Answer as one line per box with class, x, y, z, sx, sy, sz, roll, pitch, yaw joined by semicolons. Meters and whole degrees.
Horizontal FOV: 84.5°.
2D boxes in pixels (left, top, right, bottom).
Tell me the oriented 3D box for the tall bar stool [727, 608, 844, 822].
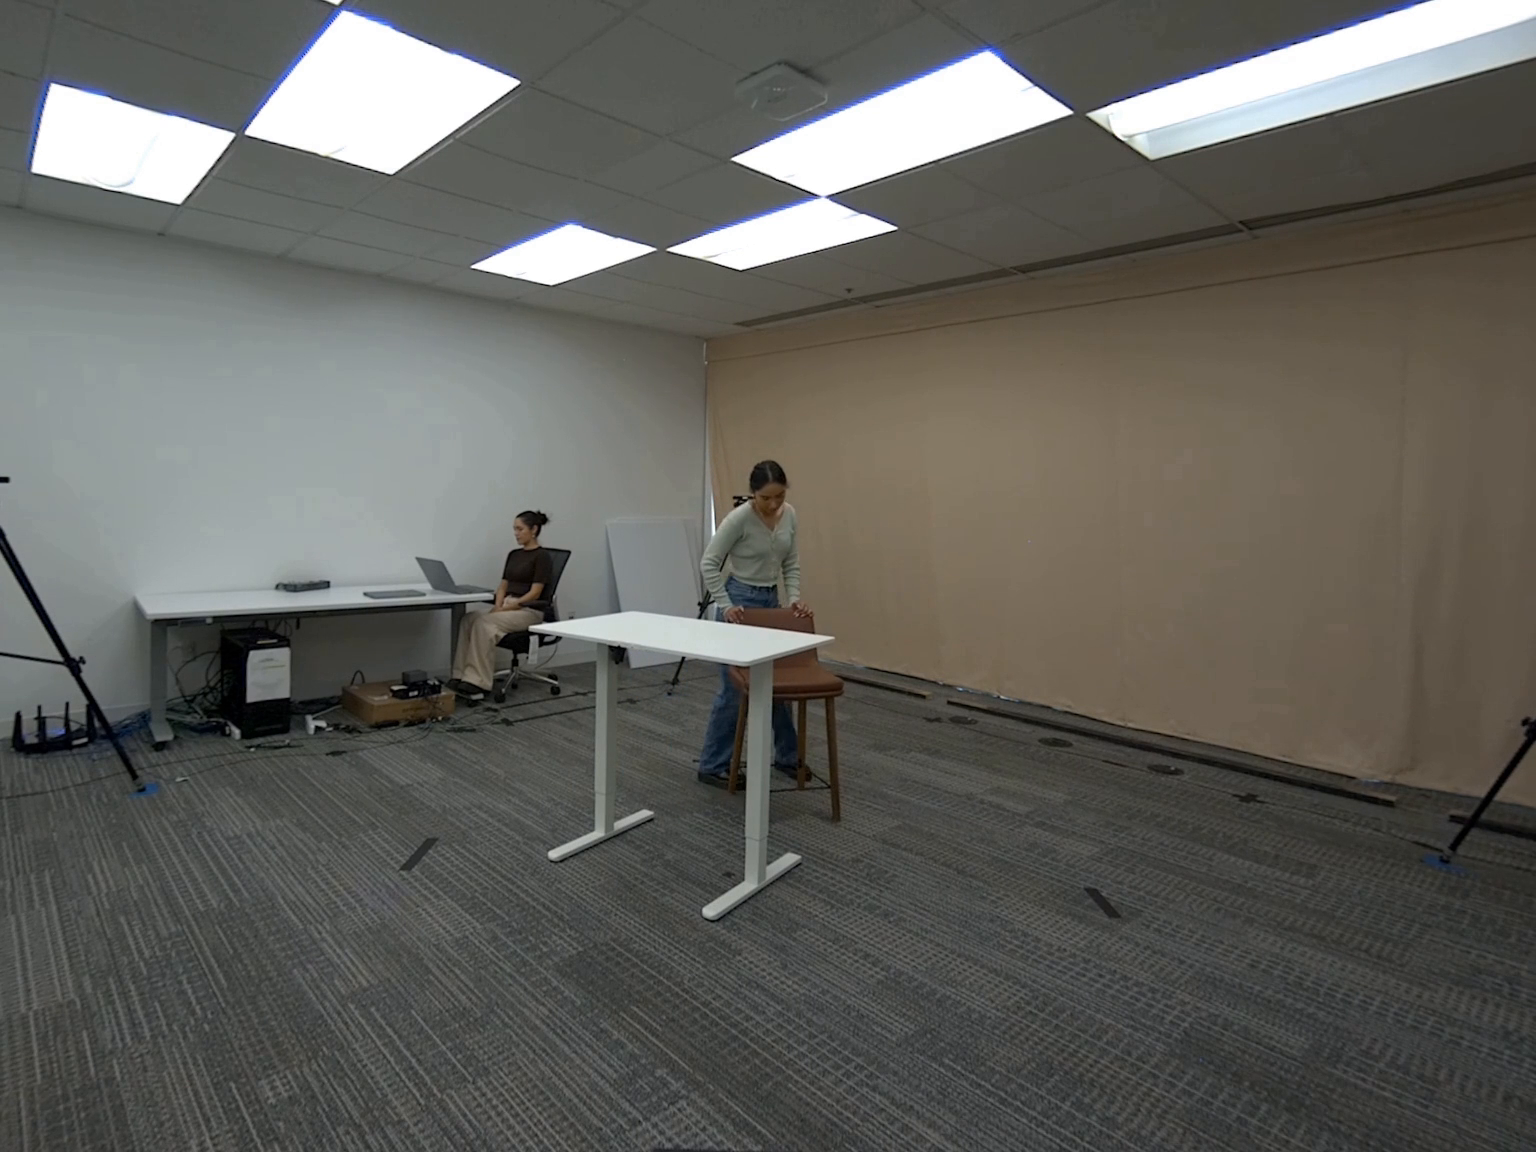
tall bar stool;0.058;0.609;3.798;0.451;0.889;0.473;1;1;-16
